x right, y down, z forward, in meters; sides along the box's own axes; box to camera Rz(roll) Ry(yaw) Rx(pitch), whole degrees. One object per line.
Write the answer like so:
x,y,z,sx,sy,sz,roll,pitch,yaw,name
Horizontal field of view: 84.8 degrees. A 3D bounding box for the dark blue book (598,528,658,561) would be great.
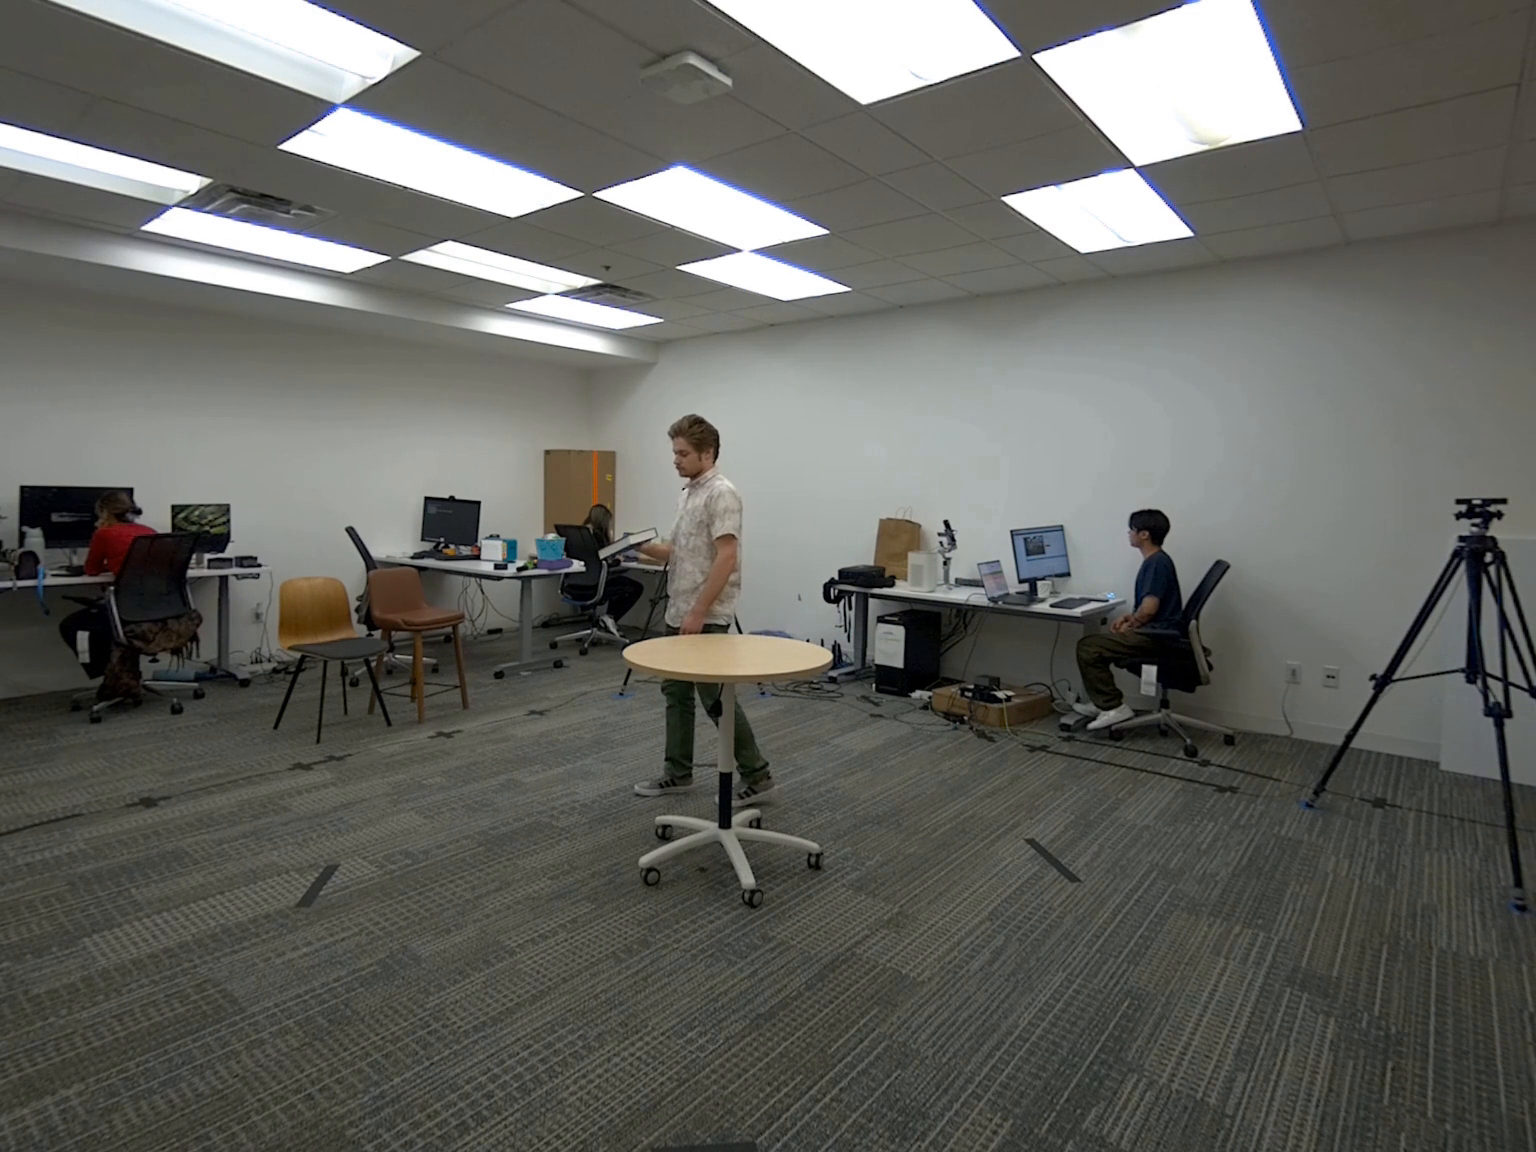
-0.638,-0.145,3.761,0.249,0.045,0.160,-21,0,43,dark blue book
